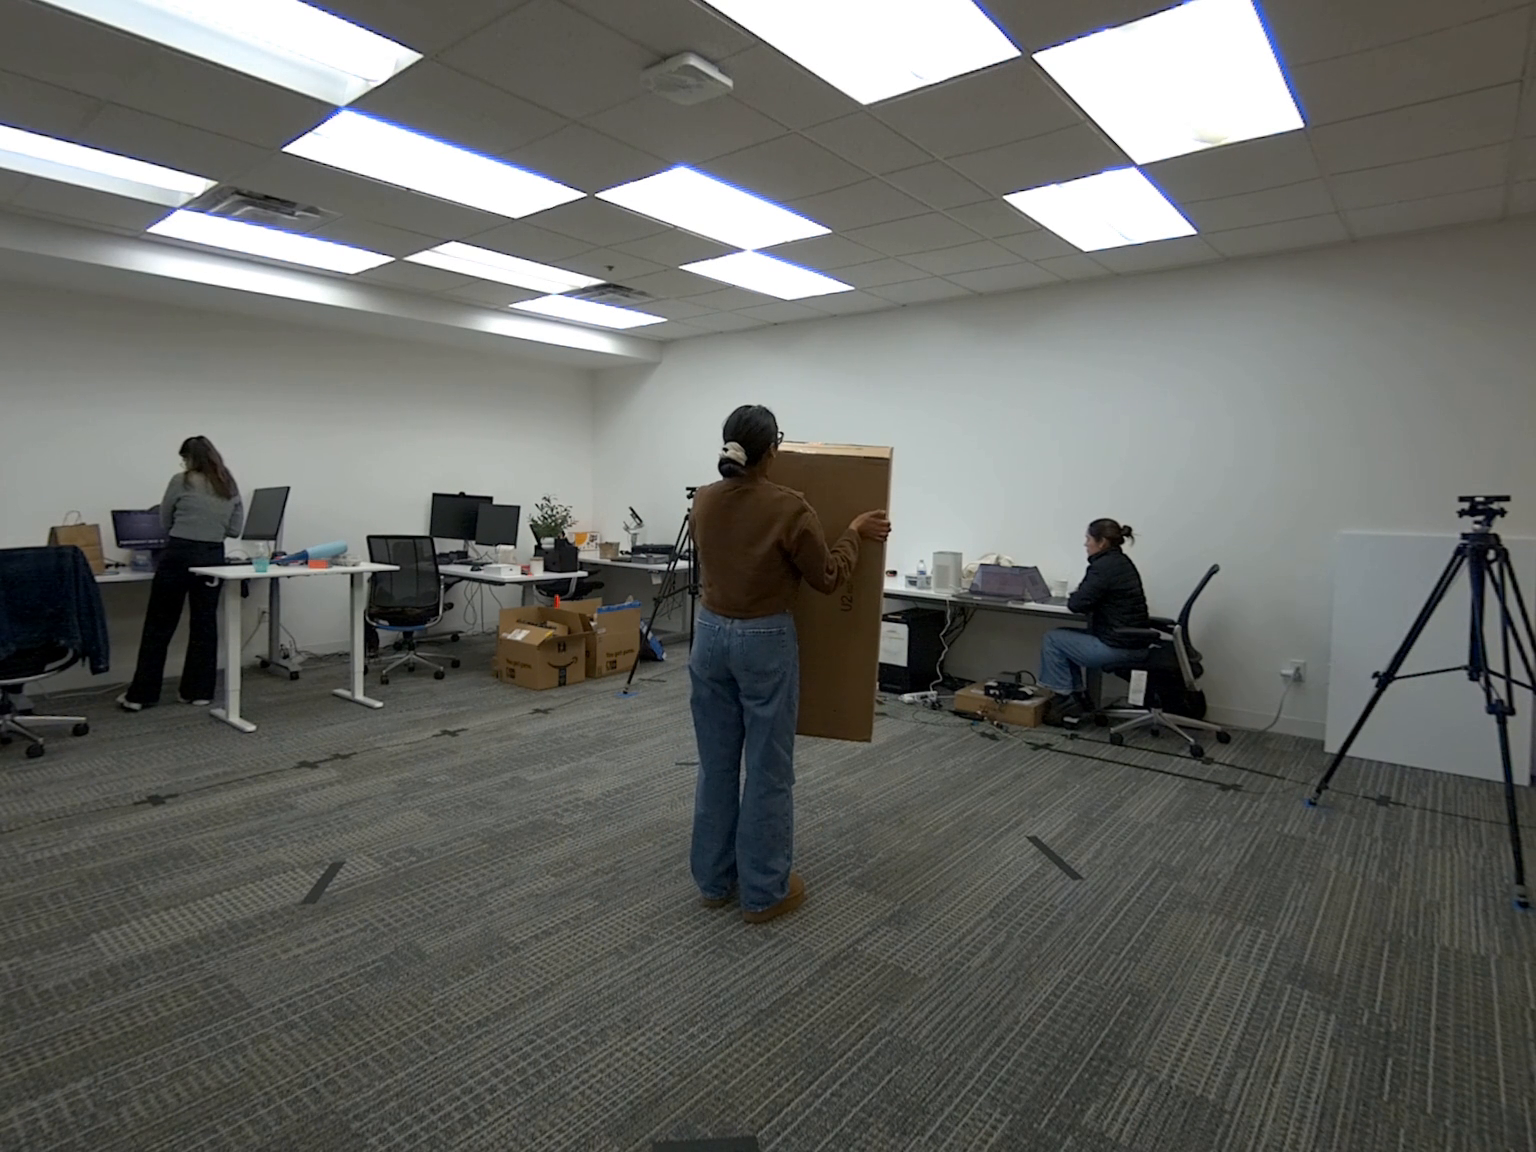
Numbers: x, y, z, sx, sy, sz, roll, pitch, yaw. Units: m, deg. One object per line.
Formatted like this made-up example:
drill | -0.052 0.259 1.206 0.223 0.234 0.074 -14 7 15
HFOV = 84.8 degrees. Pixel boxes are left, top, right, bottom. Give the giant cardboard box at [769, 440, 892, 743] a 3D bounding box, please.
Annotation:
giant cardboard box | 0.131 0.027 3.191 0.585 1.015 0.425 5 12 11
